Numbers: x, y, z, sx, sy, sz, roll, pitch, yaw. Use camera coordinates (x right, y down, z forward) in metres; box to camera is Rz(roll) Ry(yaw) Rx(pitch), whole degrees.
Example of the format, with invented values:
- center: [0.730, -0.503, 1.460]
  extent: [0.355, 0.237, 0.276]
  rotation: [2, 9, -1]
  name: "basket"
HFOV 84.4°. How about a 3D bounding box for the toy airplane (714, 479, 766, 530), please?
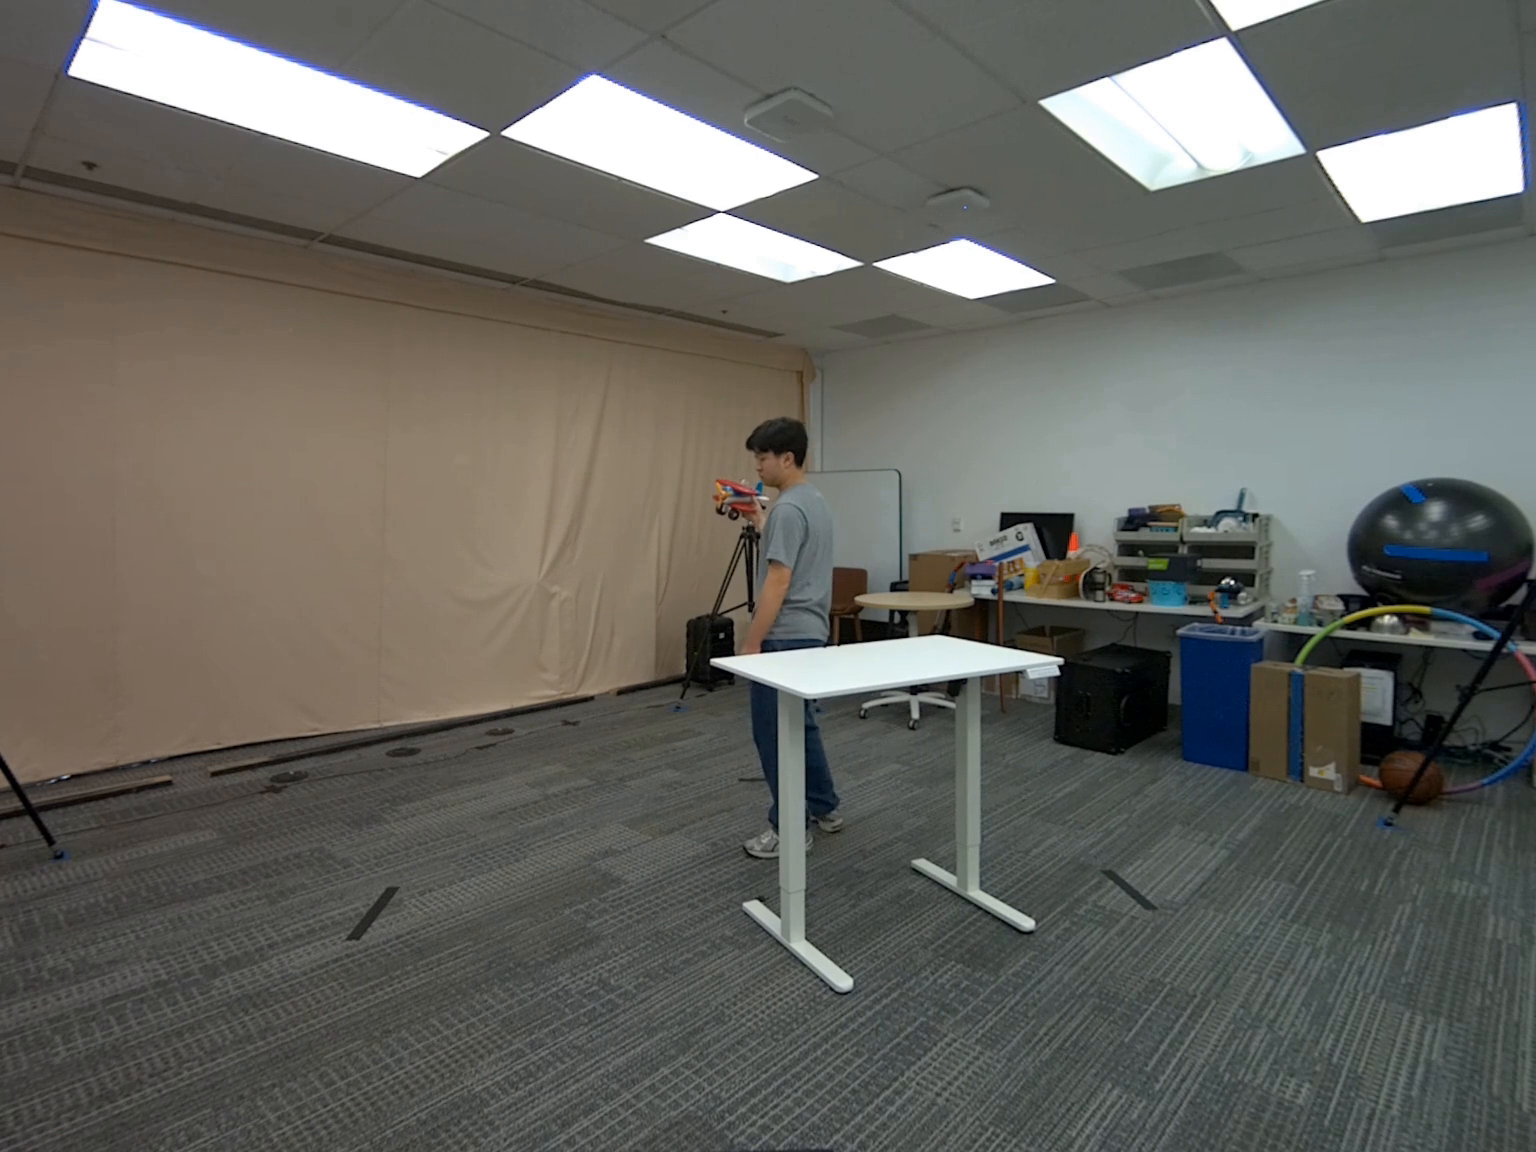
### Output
- center: [-0.136, -0.368, 3.921]
  extent: [0.256, 0.154, 0.257]
  rotation: [10, 28, 18]
  name: "toy airplane"
